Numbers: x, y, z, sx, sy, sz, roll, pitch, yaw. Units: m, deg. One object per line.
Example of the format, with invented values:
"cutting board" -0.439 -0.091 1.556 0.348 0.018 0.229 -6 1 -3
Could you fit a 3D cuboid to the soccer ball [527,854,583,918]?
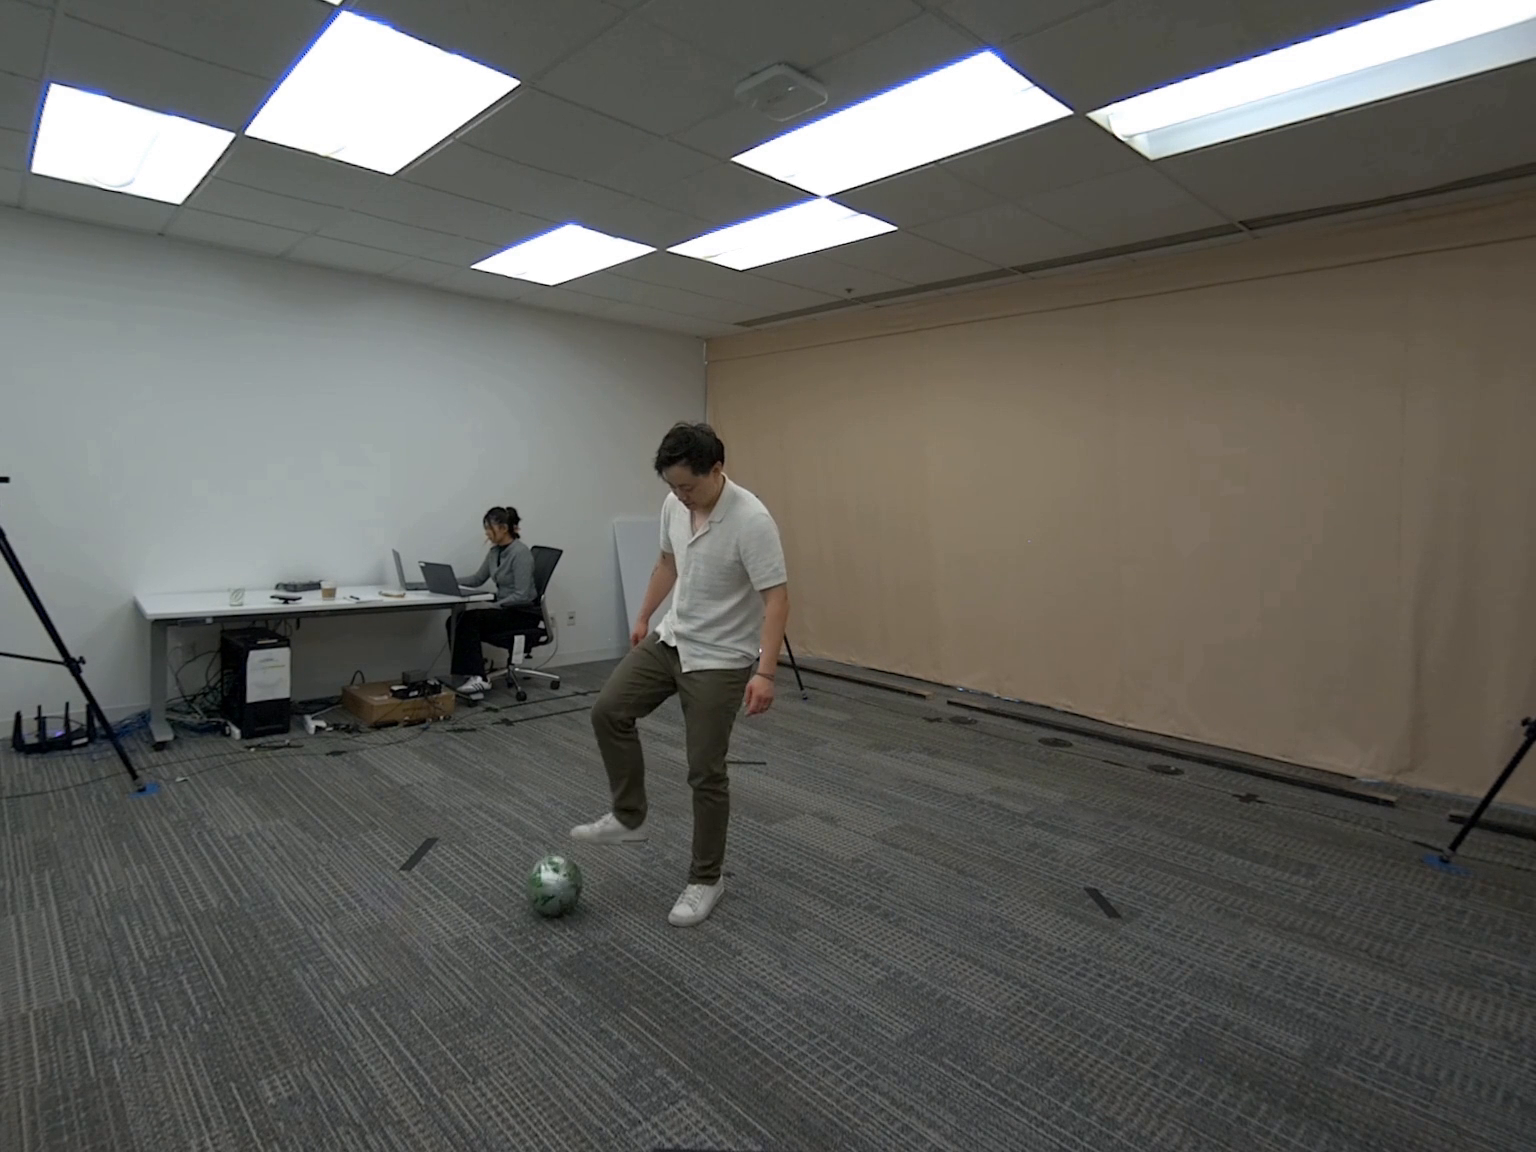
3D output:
"soccer ball" -0.715 1.023 2.793 0.187 0.187 0.188 1 4 -1
